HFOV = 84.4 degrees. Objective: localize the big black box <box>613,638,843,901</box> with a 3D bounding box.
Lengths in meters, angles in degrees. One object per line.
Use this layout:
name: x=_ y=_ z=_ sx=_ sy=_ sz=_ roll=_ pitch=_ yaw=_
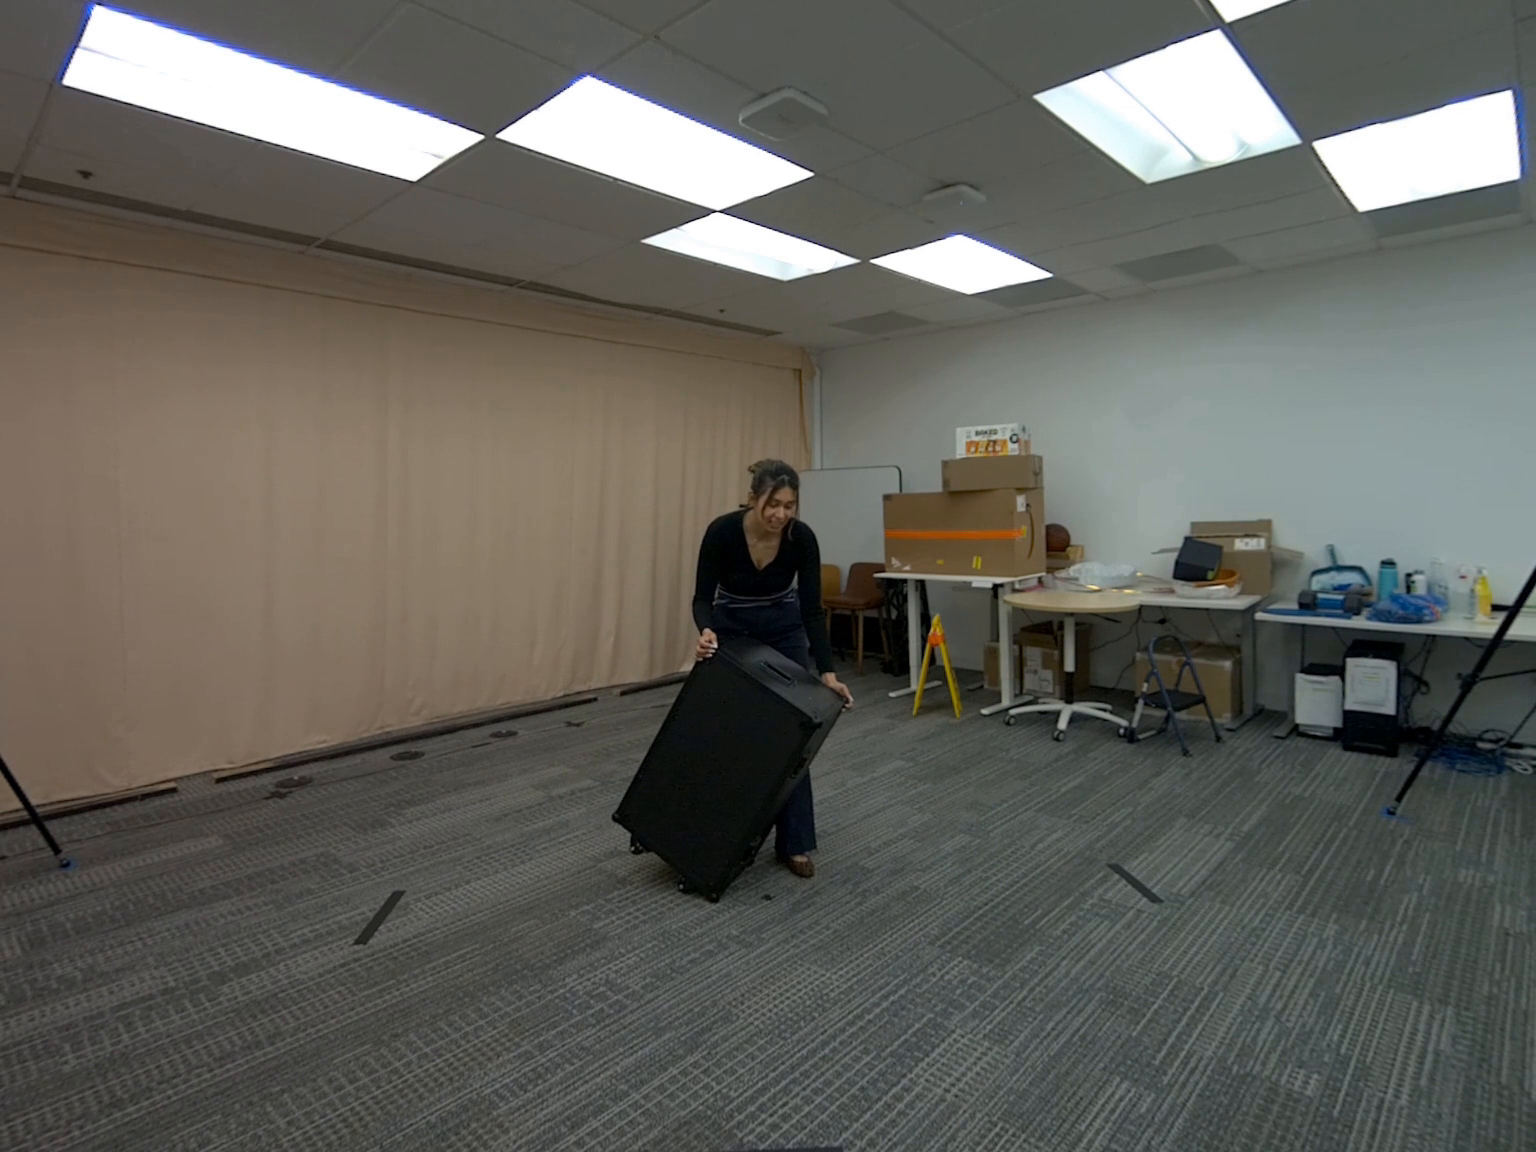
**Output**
big black box: x=-0.156 y=0.696 z=3.105 sx=0.533 sy=0.861 sz=0.388 roll=32 pitch=13 yaw=18
